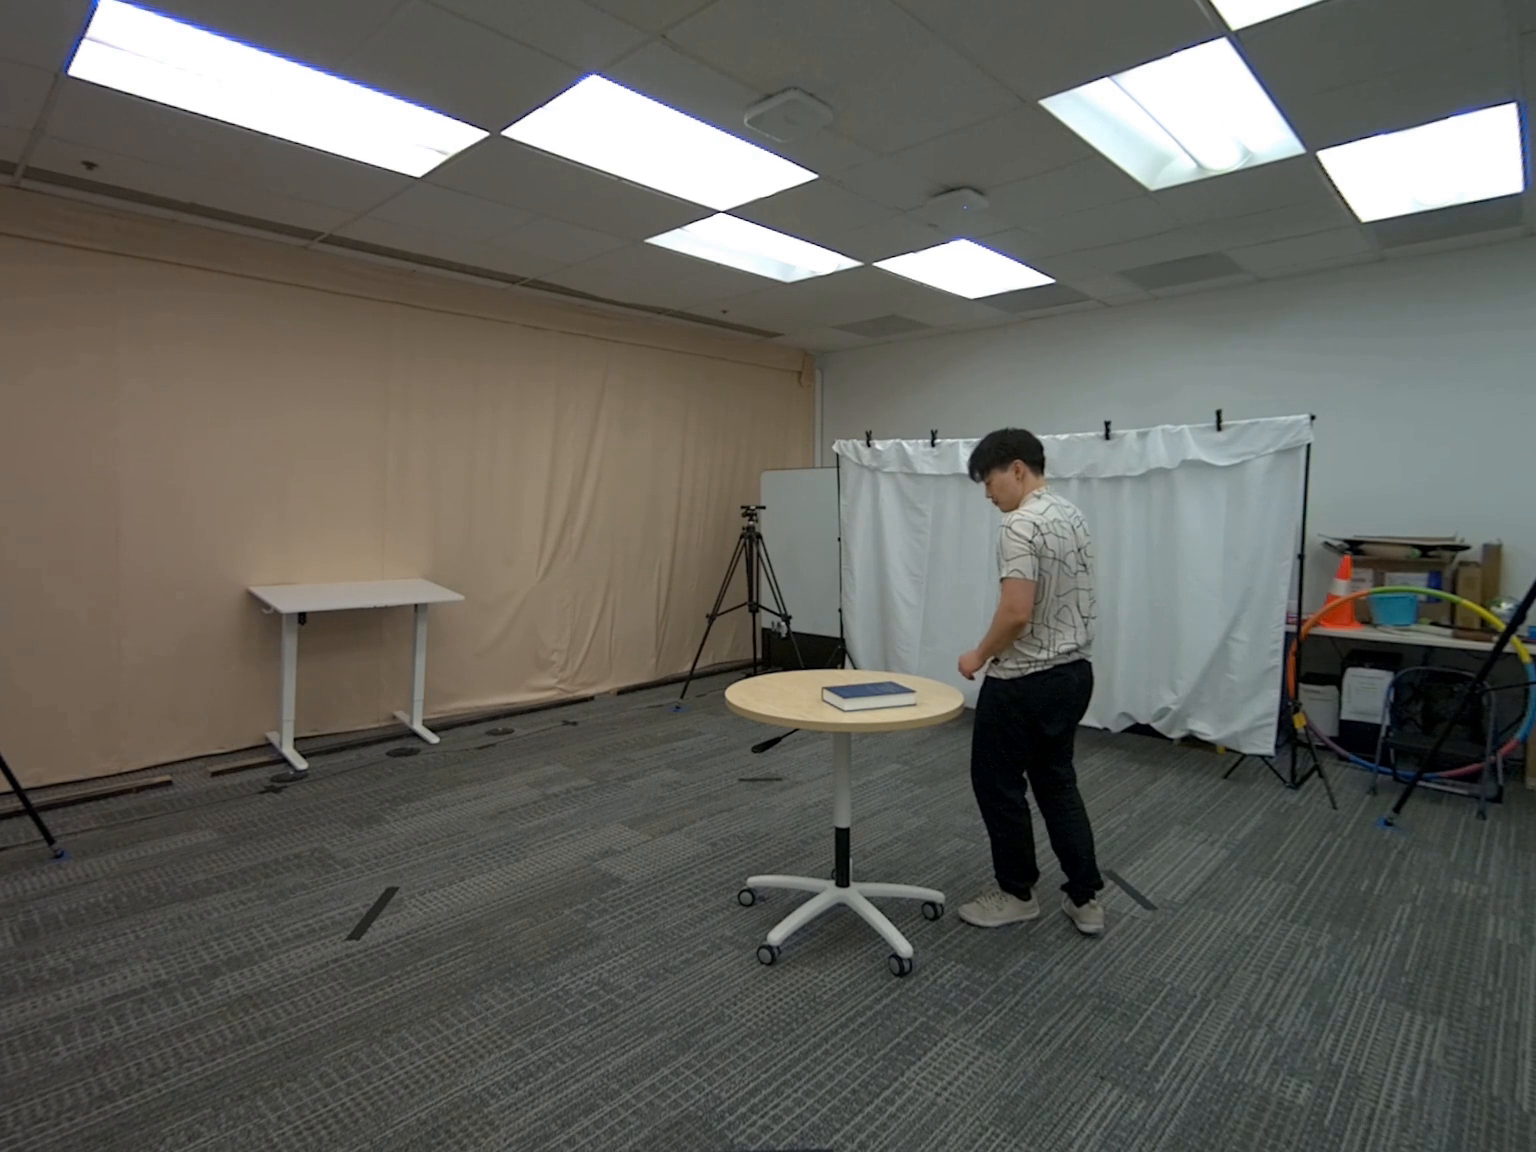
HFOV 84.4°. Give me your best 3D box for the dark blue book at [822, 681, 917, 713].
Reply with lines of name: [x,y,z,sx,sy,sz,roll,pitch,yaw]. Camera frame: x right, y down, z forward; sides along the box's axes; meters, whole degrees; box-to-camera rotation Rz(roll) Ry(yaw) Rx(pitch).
dark blue book: [0.315,0.374,2.594,0.241,0.045,0.167,-2,5,-18]
